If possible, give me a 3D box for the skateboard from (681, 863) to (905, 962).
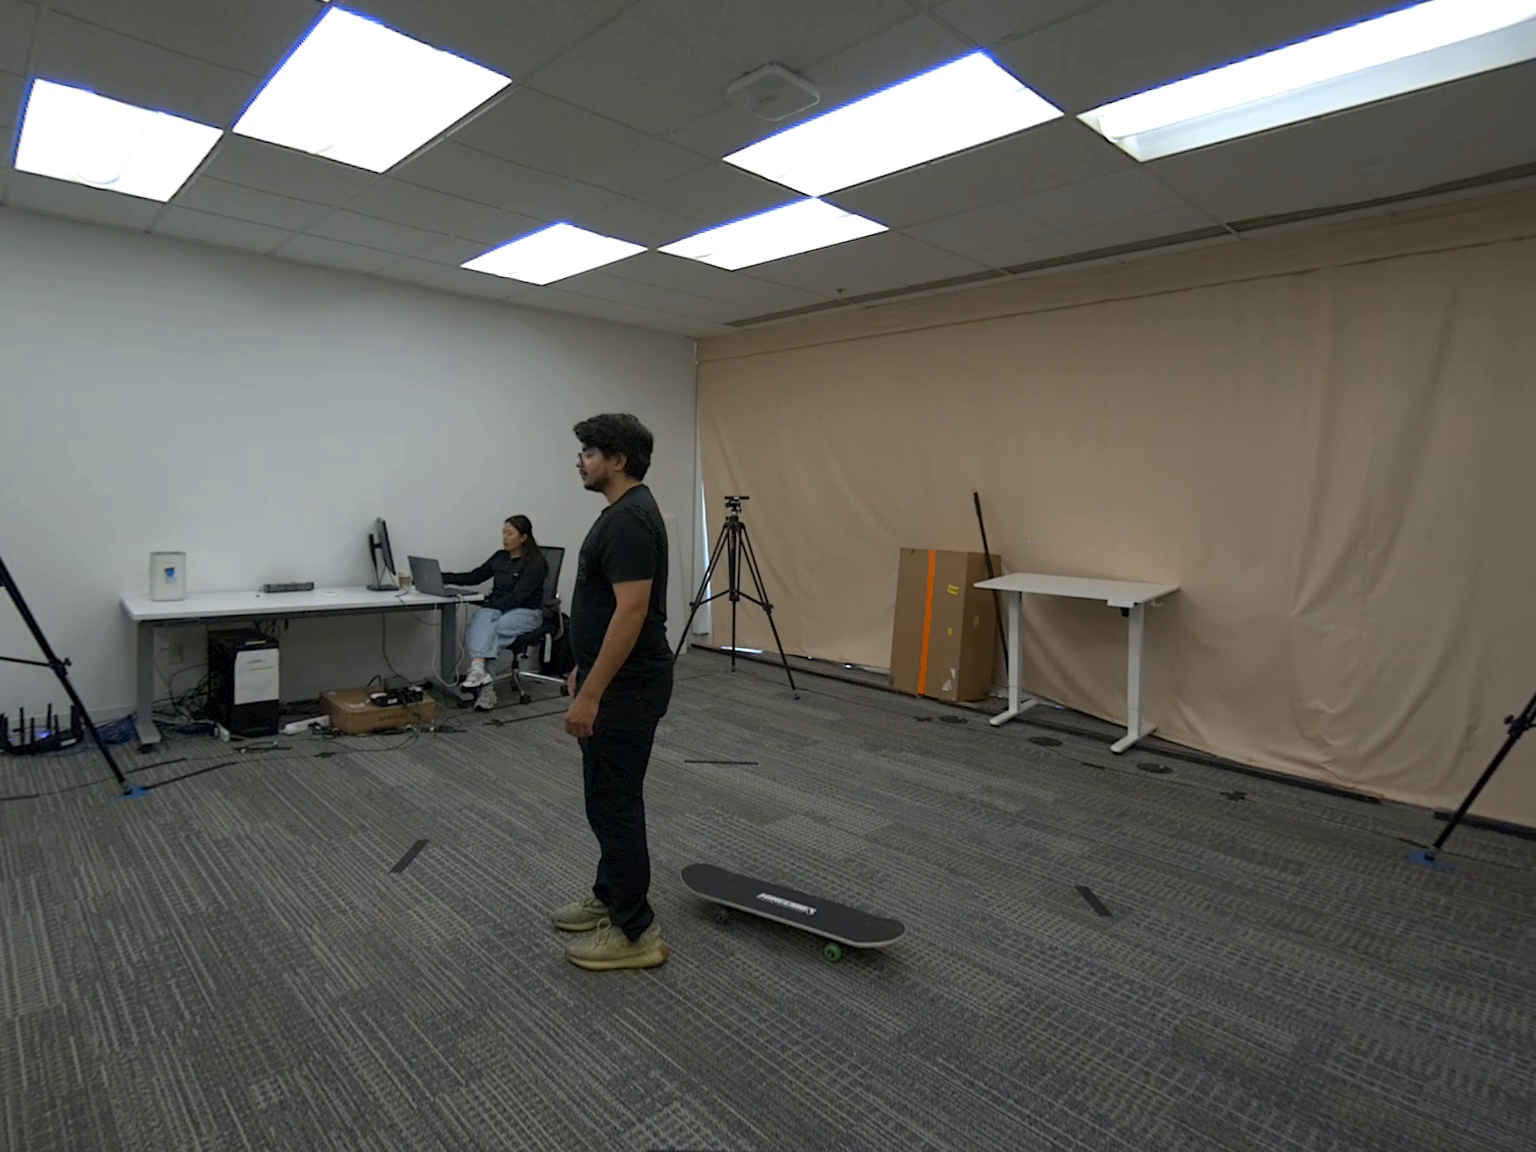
[{"bbox_3d":[0.049,1.088,2.707,0.803,0.110,0.190,5,6,30],"label":"skateboard"}]
